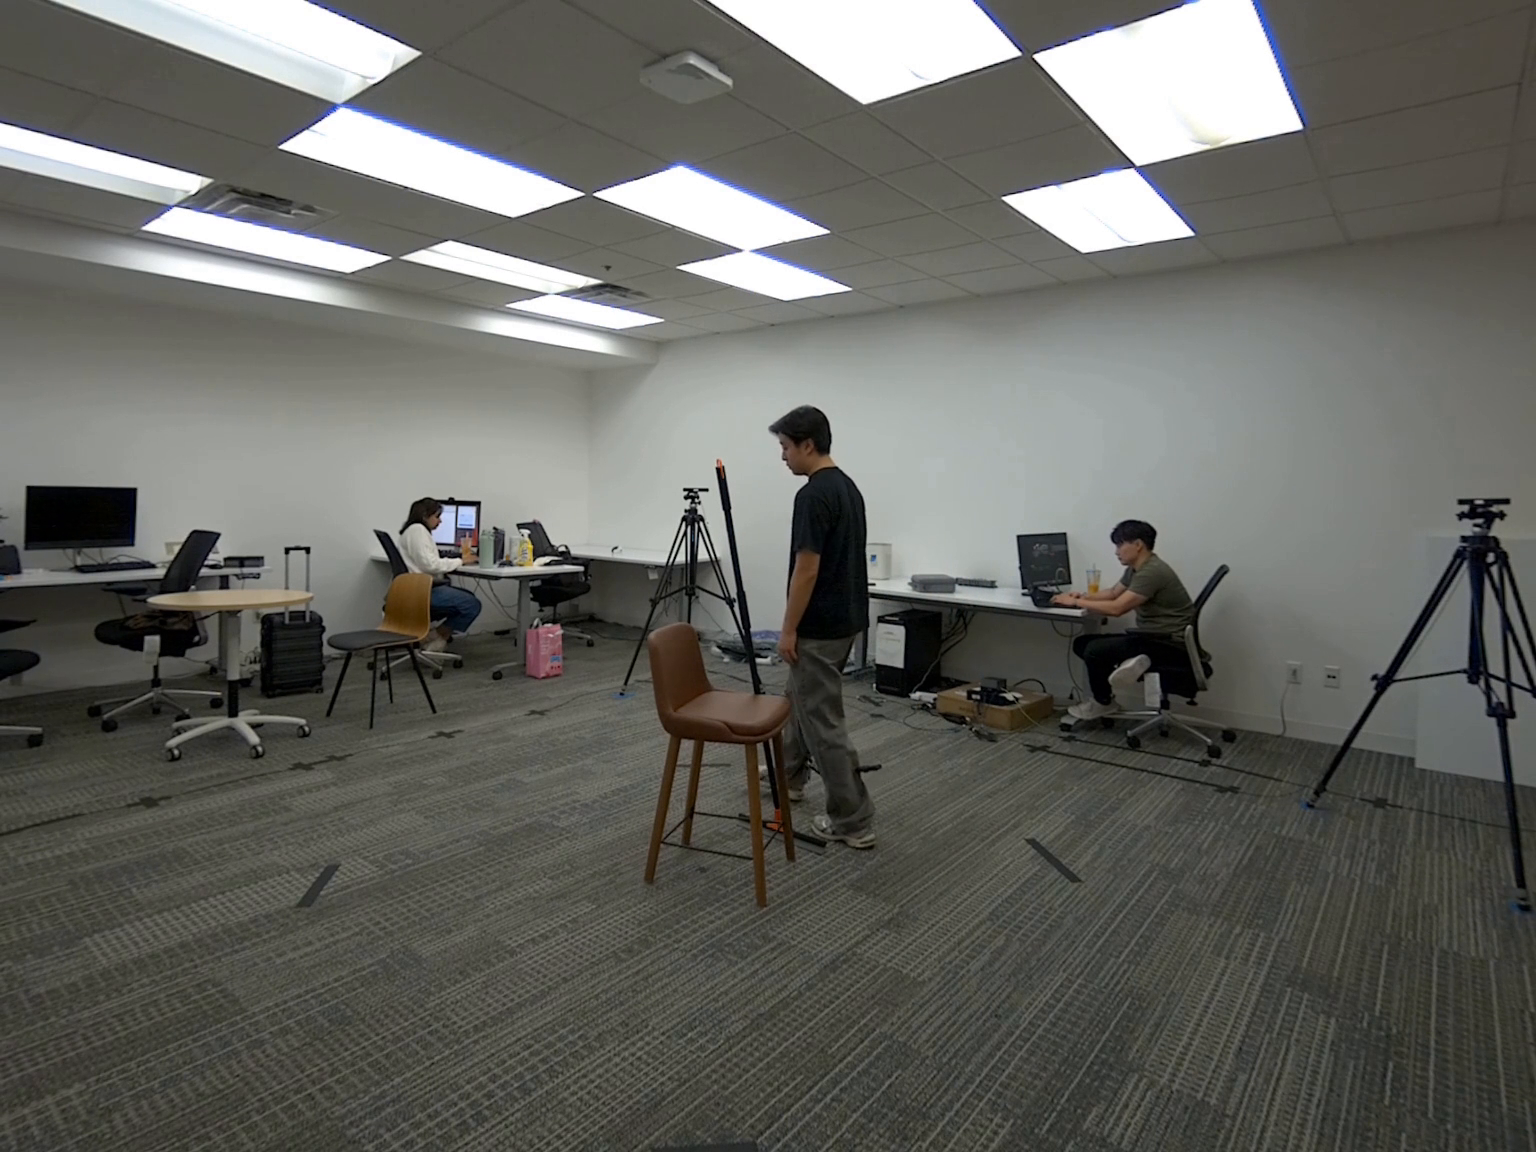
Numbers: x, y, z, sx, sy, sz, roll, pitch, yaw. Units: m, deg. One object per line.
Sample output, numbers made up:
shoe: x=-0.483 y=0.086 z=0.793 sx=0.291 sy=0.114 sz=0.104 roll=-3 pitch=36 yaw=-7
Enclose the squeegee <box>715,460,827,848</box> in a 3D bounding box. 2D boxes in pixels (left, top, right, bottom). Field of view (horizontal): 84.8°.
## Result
squeegee: x=-0.073 y=0.308 z=3.248 sx=0.452 sy=1.518 sz=0.052 roll=2 pitch=15 yaw=41
